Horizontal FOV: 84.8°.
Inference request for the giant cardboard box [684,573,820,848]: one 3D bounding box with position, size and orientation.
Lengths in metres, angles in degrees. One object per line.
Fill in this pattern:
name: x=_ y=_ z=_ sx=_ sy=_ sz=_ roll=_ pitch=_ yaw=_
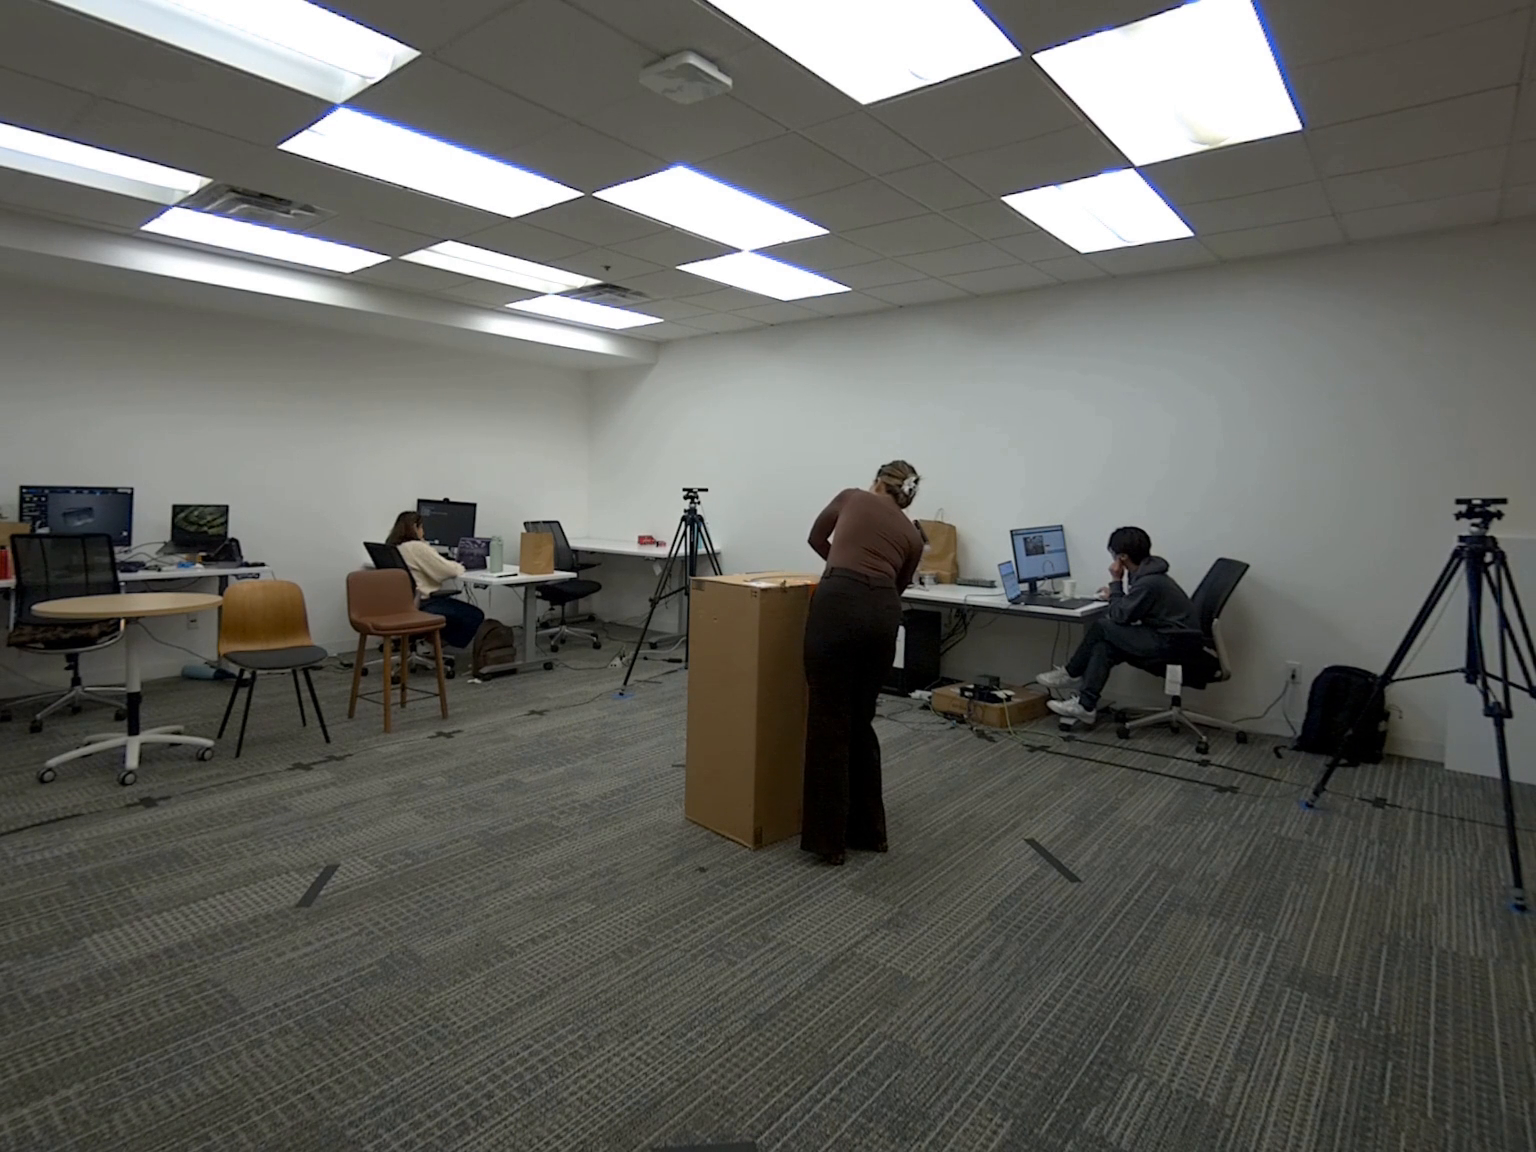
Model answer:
giant cardboard box: x=-0.003 y=0.515 z=3.603 sx=0.566 sy=1.023 sz=0.462 roll=-2 pitch=5 yaw=-43
